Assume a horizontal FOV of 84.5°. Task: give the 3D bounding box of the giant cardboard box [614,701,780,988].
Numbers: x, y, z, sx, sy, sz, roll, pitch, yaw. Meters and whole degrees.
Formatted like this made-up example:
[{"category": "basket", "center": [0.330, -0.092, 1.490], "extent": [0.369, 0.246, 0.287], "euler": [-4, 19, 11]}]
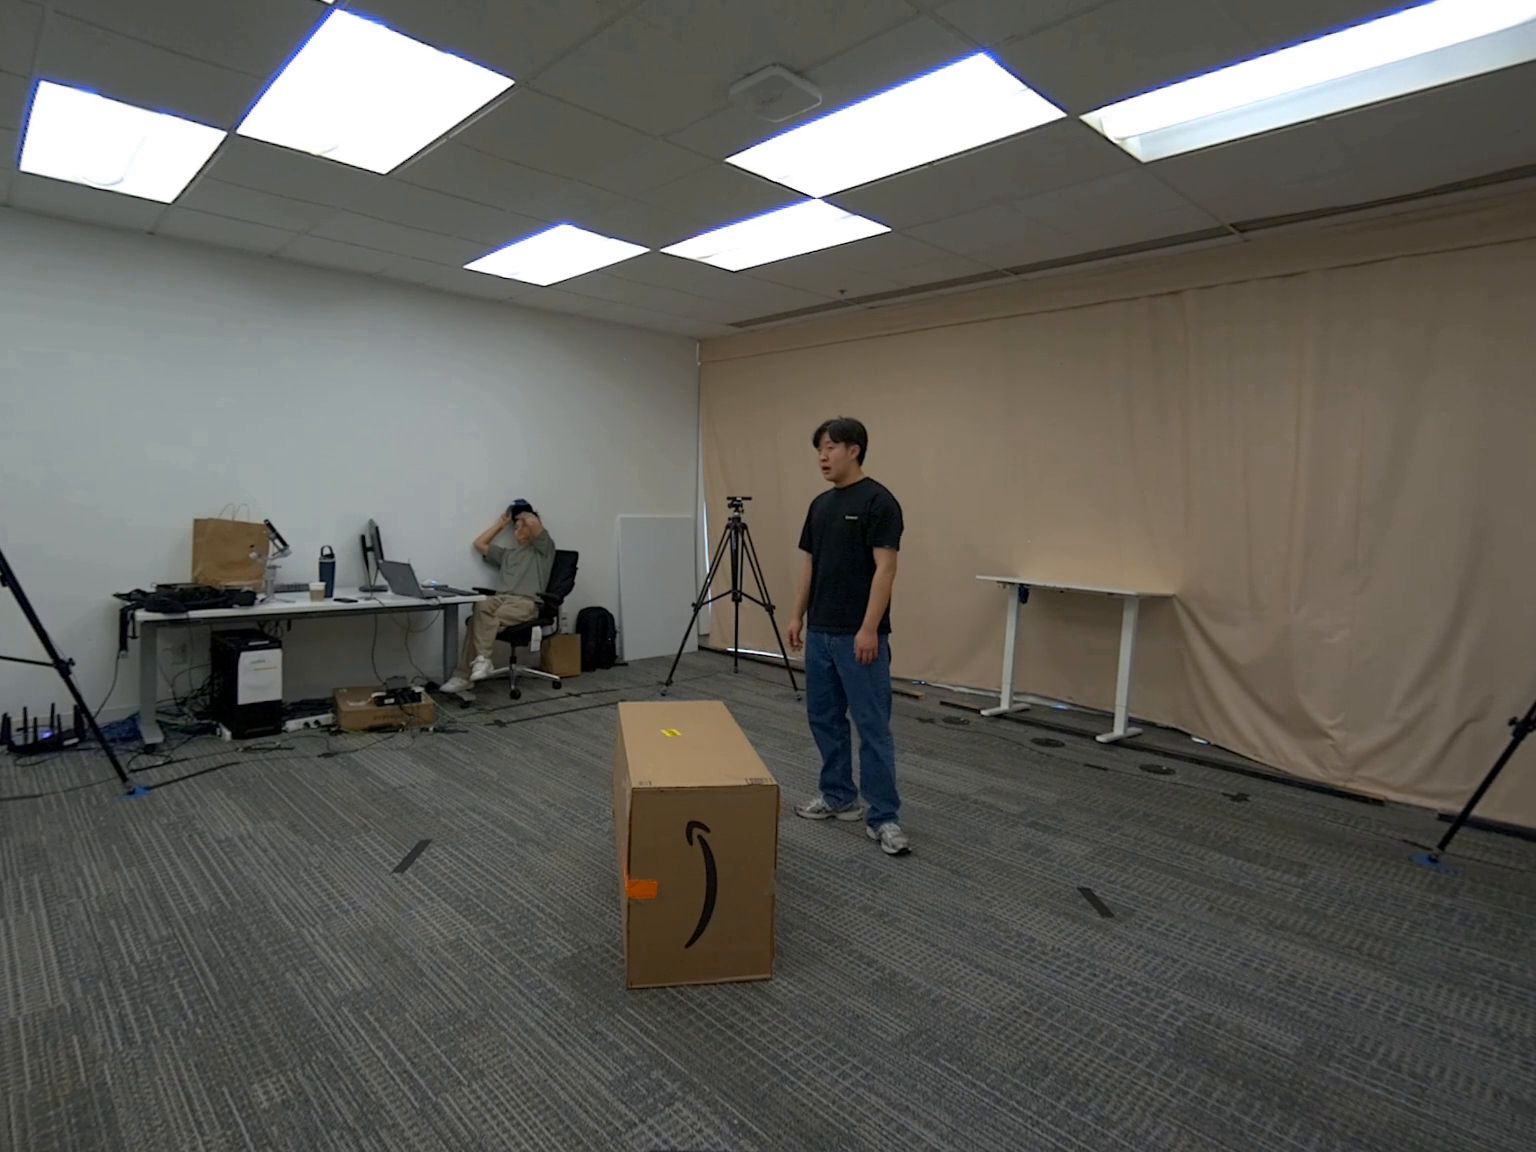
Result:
[{"category": "giant cardboard box", "center": [-0.296, 0.834, 2.890], "extent": [0.443, 0.582, 1.039], "euler": [0, 4, -12]}]
